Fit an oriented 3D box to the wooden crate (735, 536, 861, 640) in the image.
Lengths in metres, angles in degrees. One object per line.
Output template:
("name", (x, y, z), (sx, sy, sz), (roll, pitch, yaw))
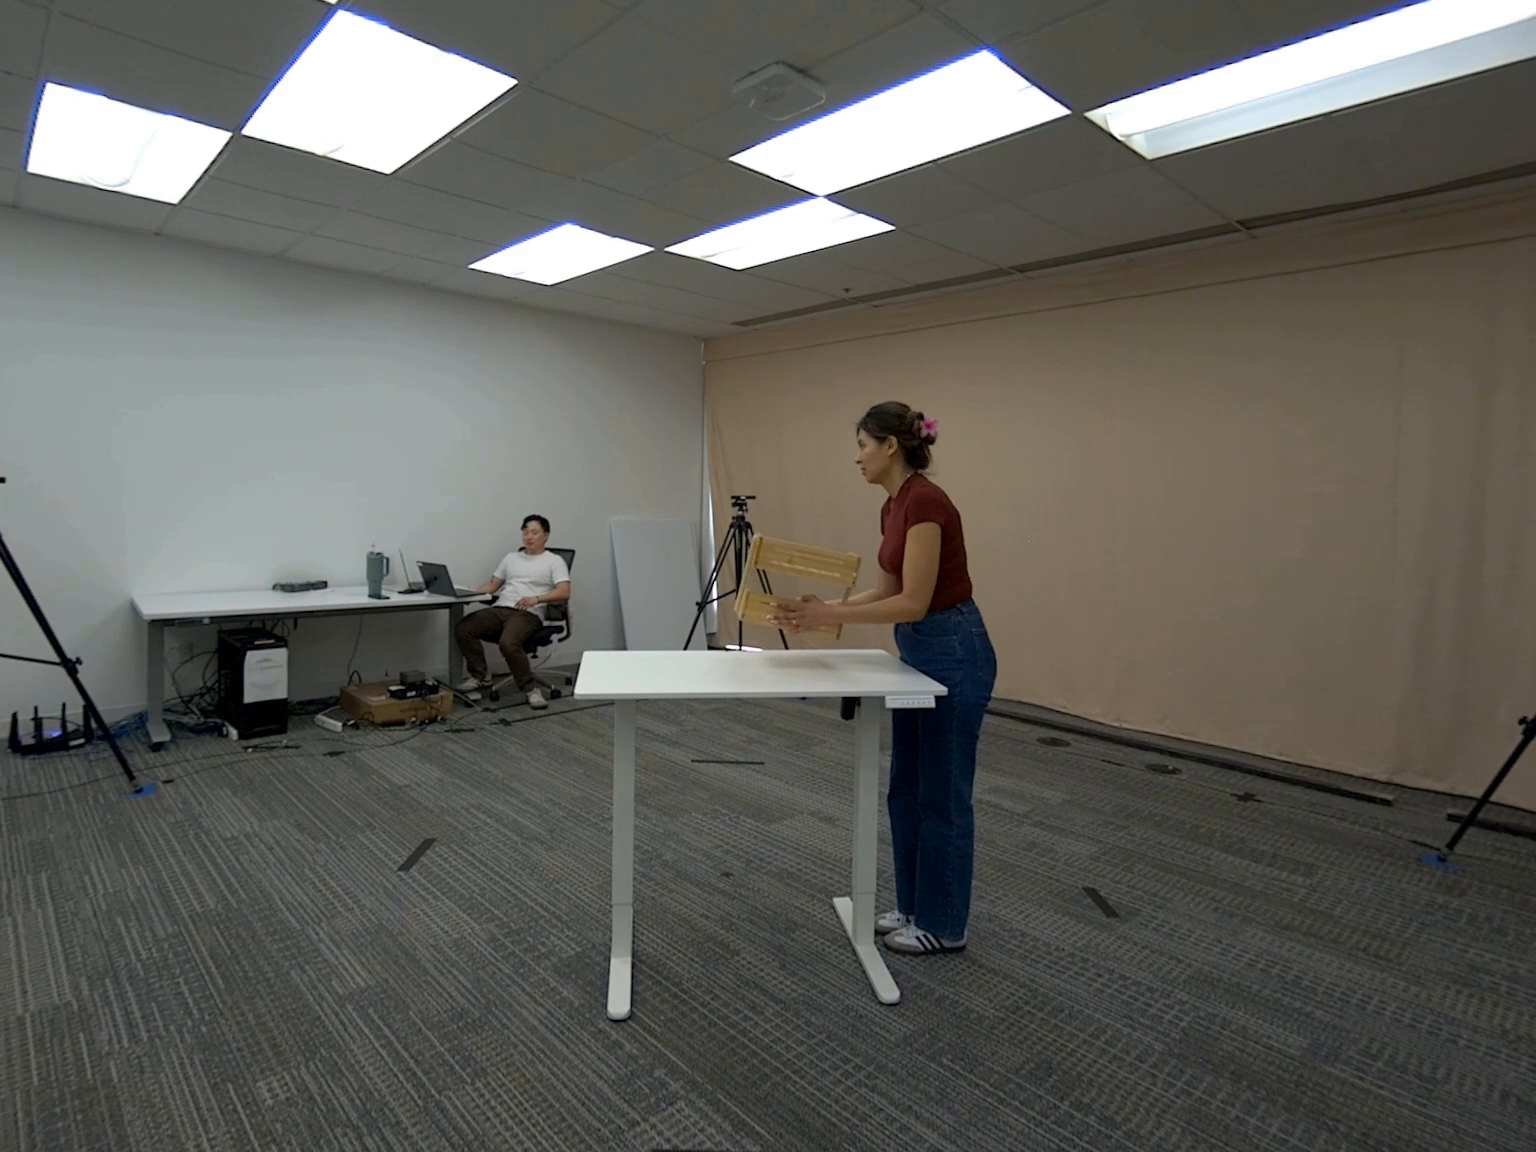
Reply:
("wooden crate", (0.080, 0.018, 2.589), (0.322, 0.272, 0.305), (11, 5, -7))
